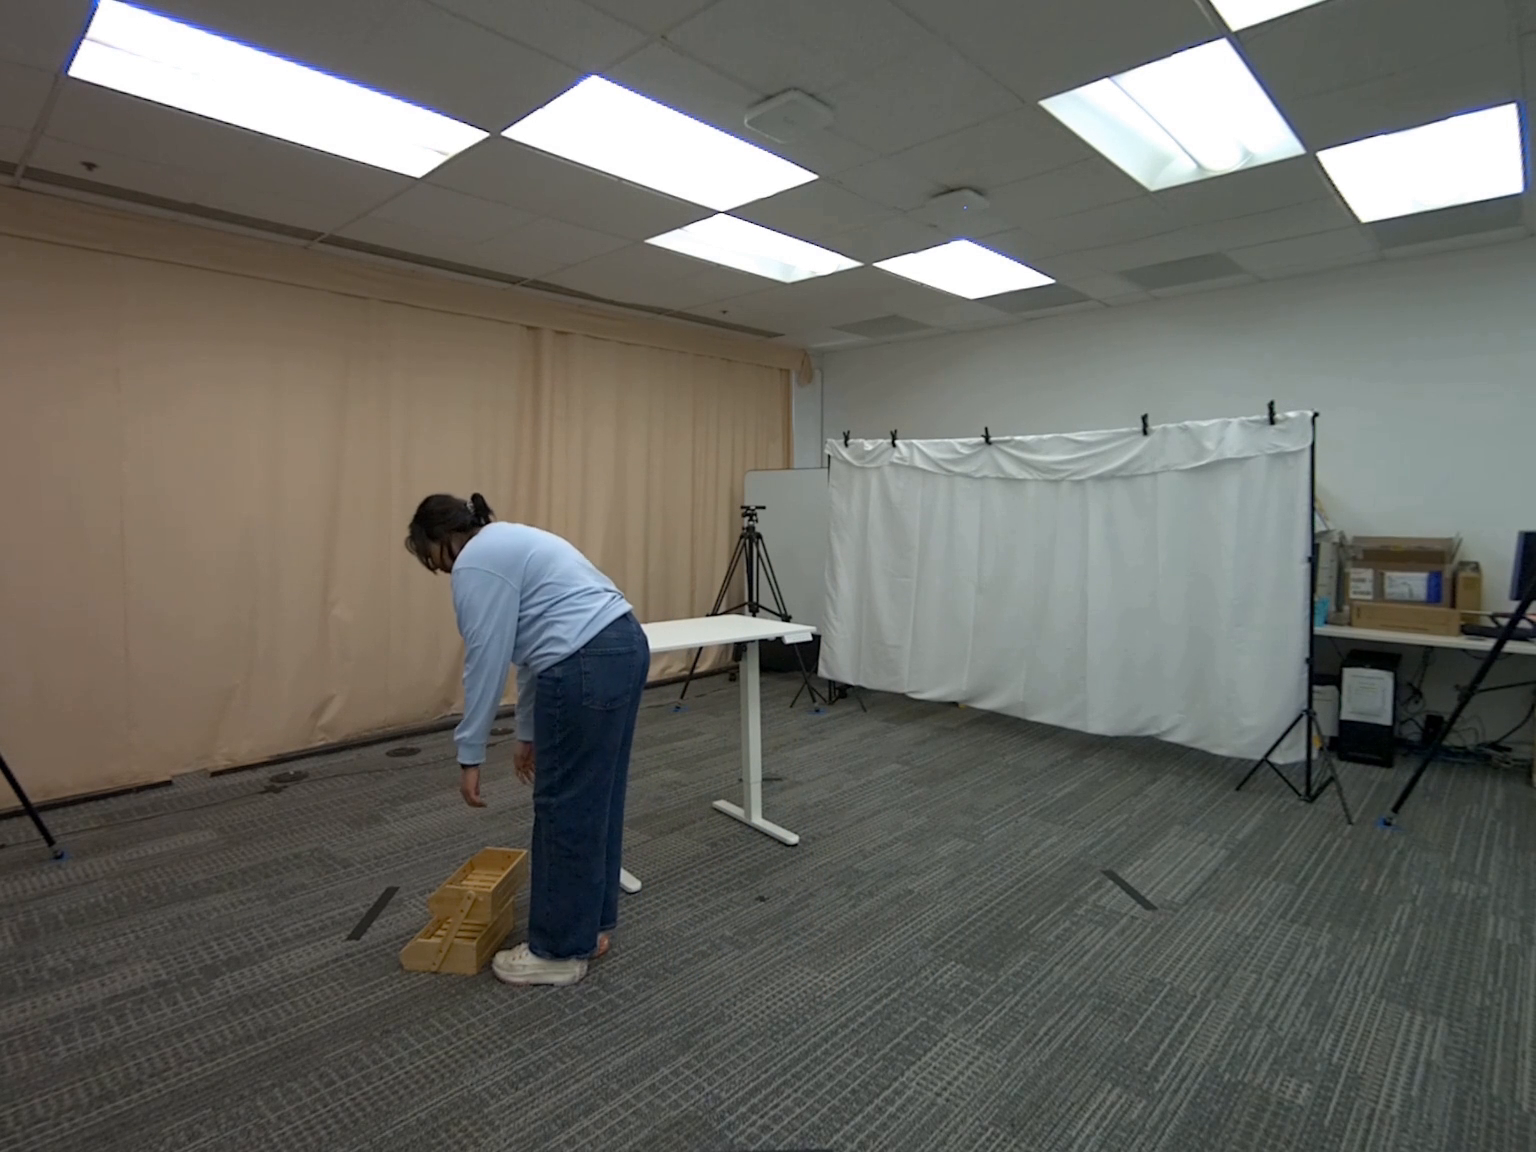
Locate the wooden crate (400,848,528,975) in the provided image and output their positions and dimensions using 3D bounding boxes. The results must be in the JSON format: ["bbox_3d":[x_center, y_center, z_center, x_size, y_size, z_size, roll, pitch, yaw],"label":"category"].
[{"bbox_3d":[-0.967,1.051,2.661,0.304,0.273,0.323,2,4,6],"label":"wooden crate"}]
